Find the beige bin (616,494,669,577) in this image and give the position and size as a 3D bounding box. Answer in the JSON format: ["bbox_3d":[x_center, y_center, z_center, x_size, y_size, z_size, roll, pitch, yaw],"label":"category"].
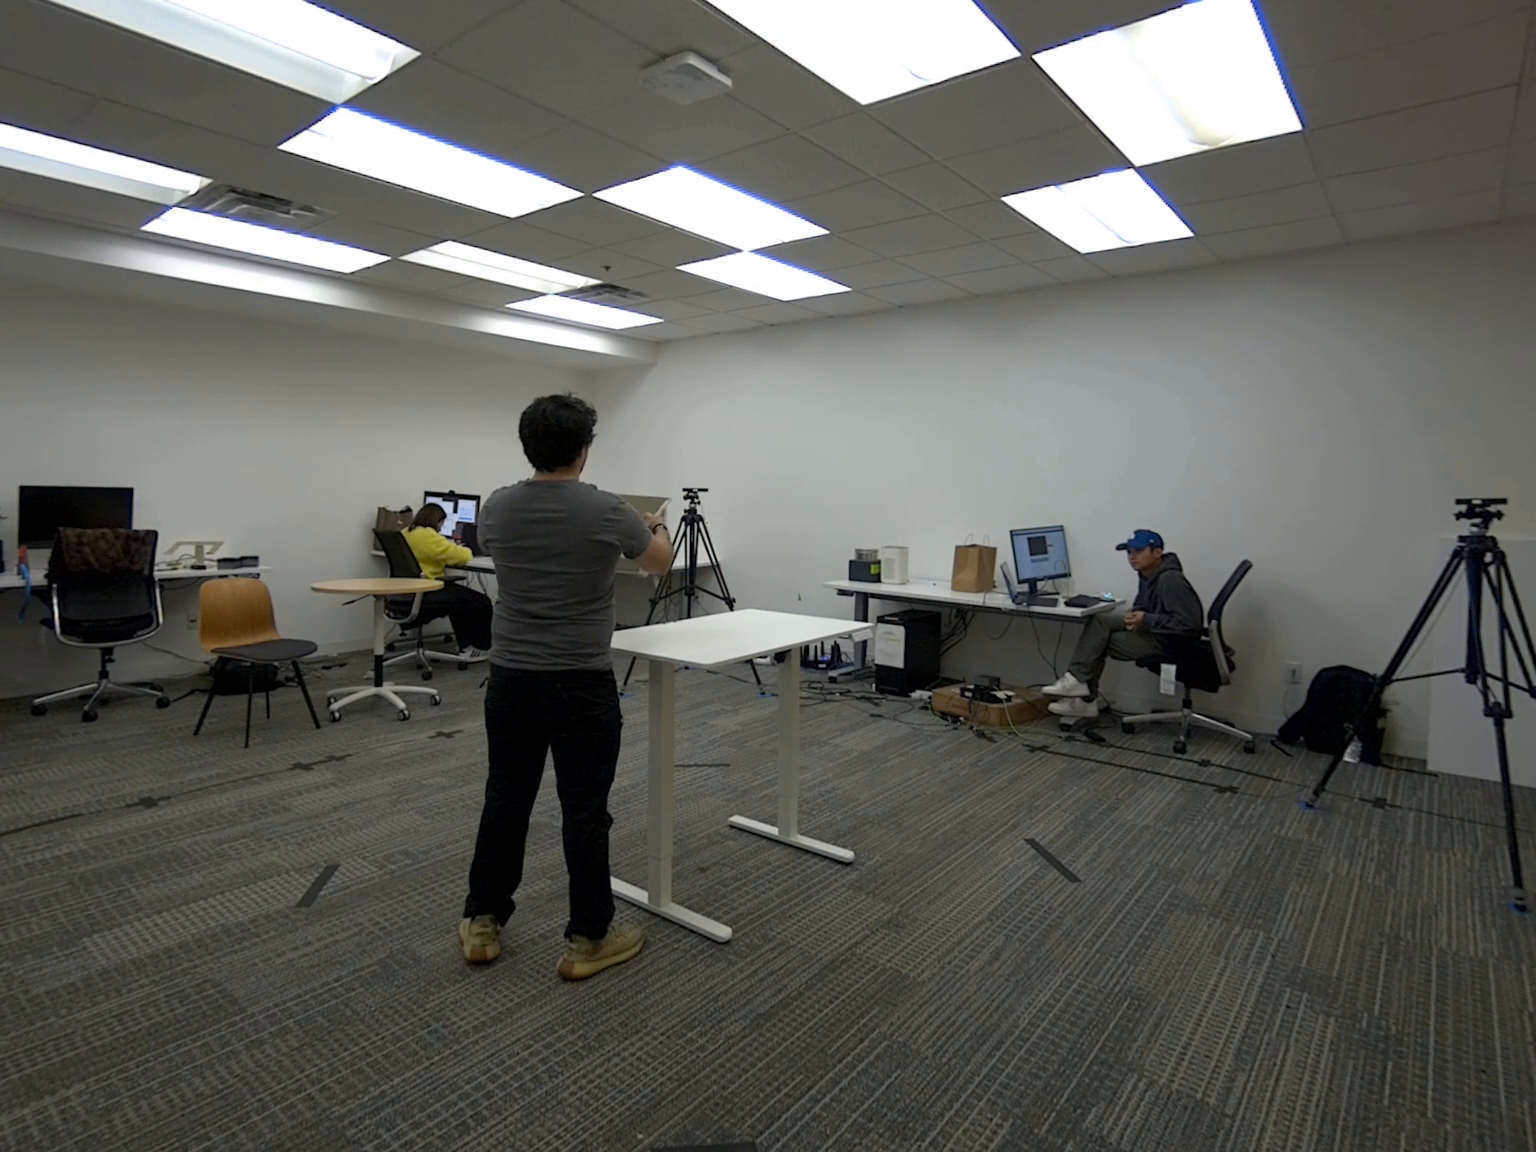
[{"bbox_3d":[-0.602,-0.151,3.027,0.428,0.185,0.380,4,22,10],"label":"beige bin"}]
